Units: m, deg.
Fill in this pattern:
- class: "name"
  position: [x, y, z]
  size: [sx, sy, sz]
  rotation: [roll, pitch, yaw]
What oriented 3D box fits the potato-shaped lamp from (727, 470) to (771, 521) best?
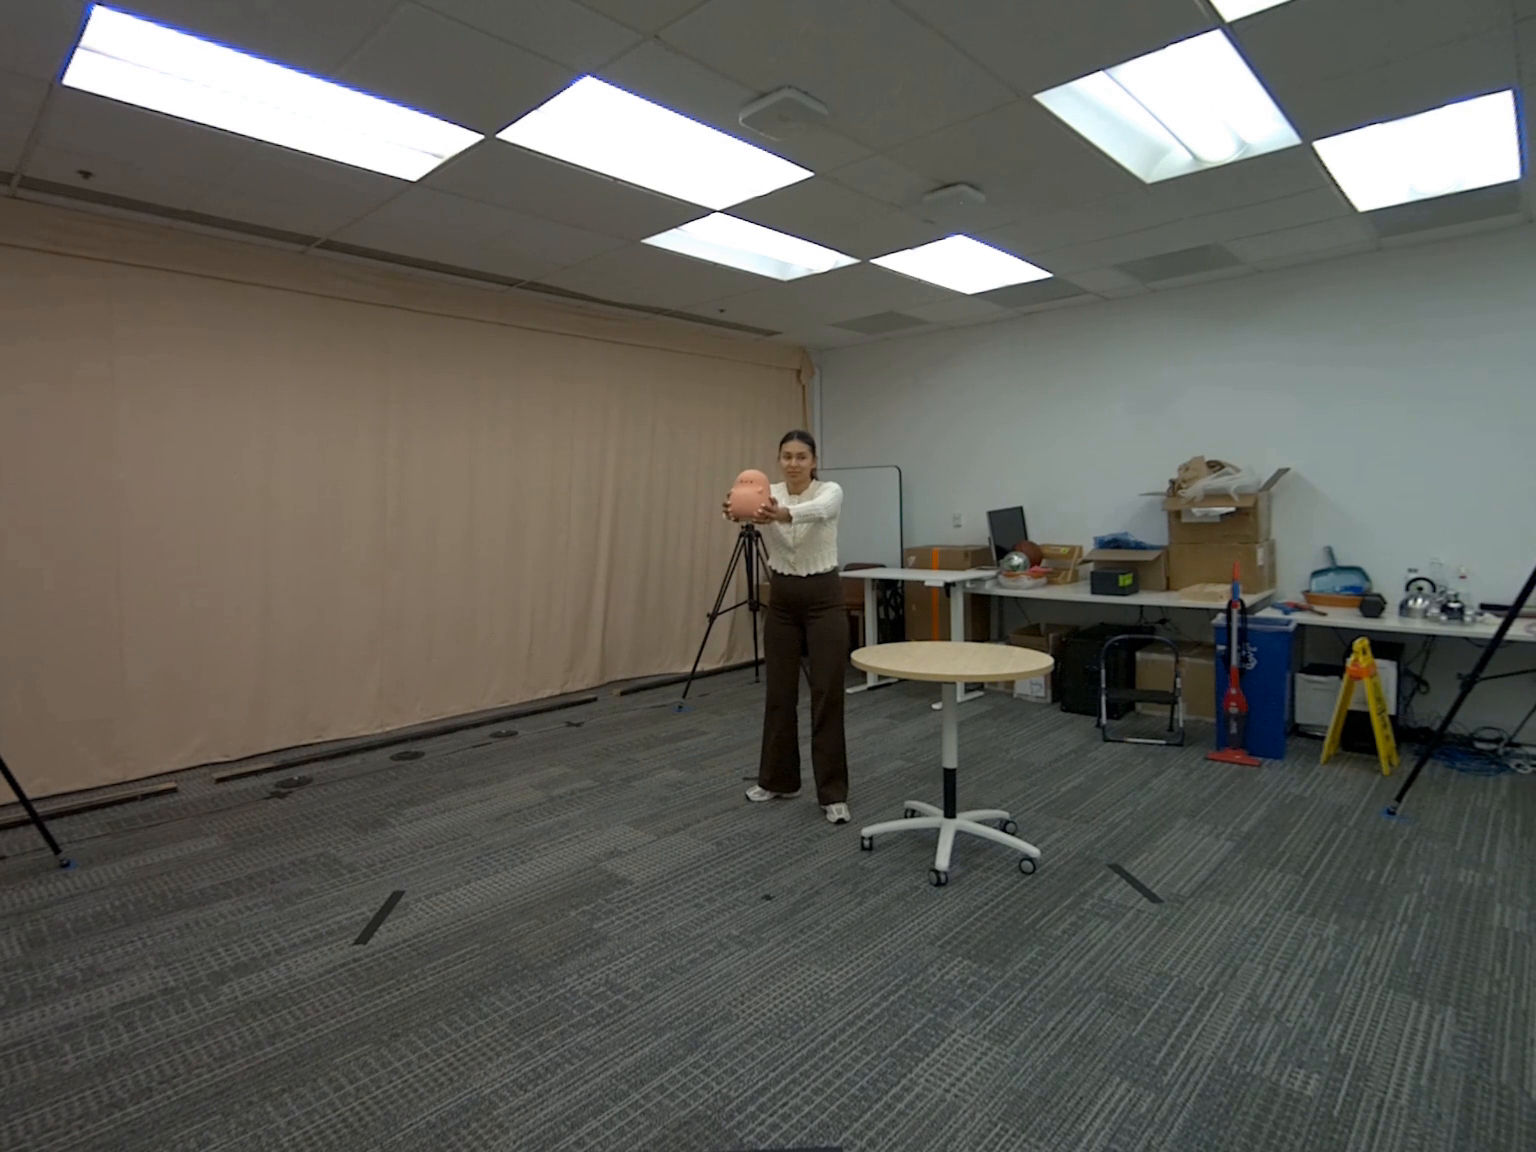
- class: "potato-shaped lamp"
  position: [-0.059, -0.308, 3.233]
  size: [0.169, 0.198, 0.166]
  rotation: [1, -5, 26]
